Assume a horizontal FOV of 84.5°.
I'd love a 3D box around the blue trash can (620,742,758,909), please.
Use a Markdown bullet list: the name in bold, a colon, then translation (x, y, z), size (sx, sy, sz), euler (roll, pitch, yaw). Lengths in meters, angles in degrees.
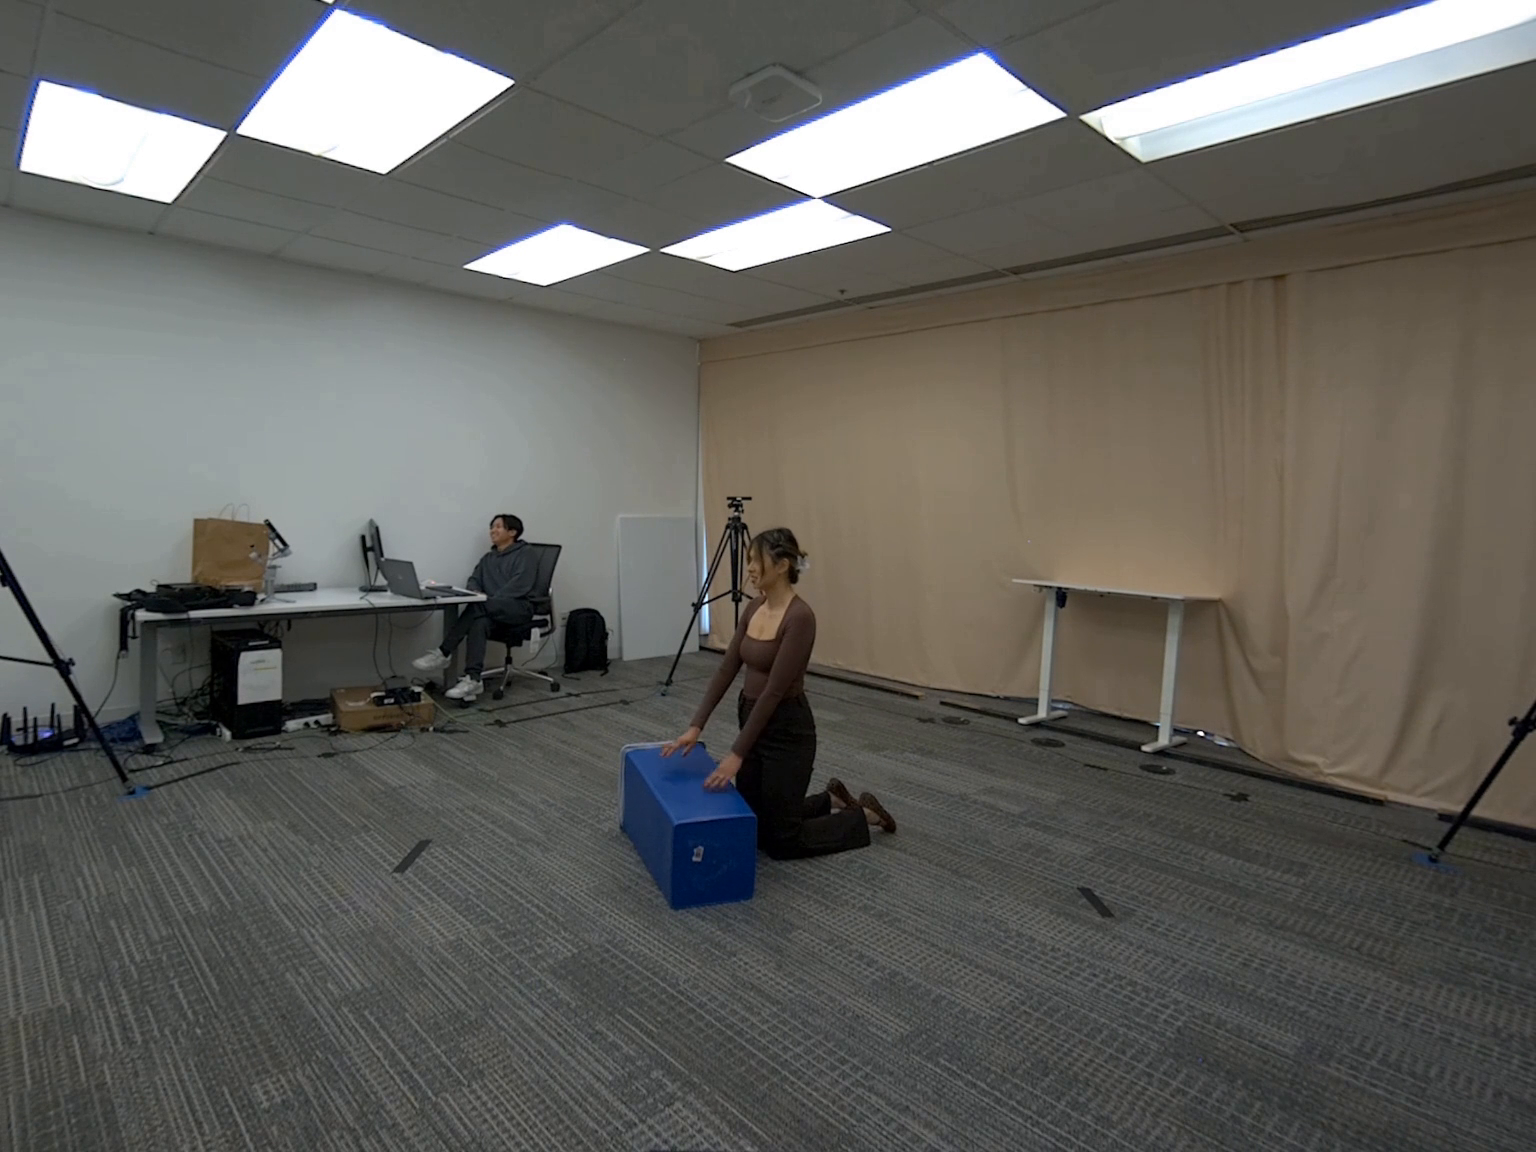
- **blue trash can**: translation (-0.322, 0.920, 3.196), size (0.368, 0.377, 0.727), euler (1, 6, -20)
